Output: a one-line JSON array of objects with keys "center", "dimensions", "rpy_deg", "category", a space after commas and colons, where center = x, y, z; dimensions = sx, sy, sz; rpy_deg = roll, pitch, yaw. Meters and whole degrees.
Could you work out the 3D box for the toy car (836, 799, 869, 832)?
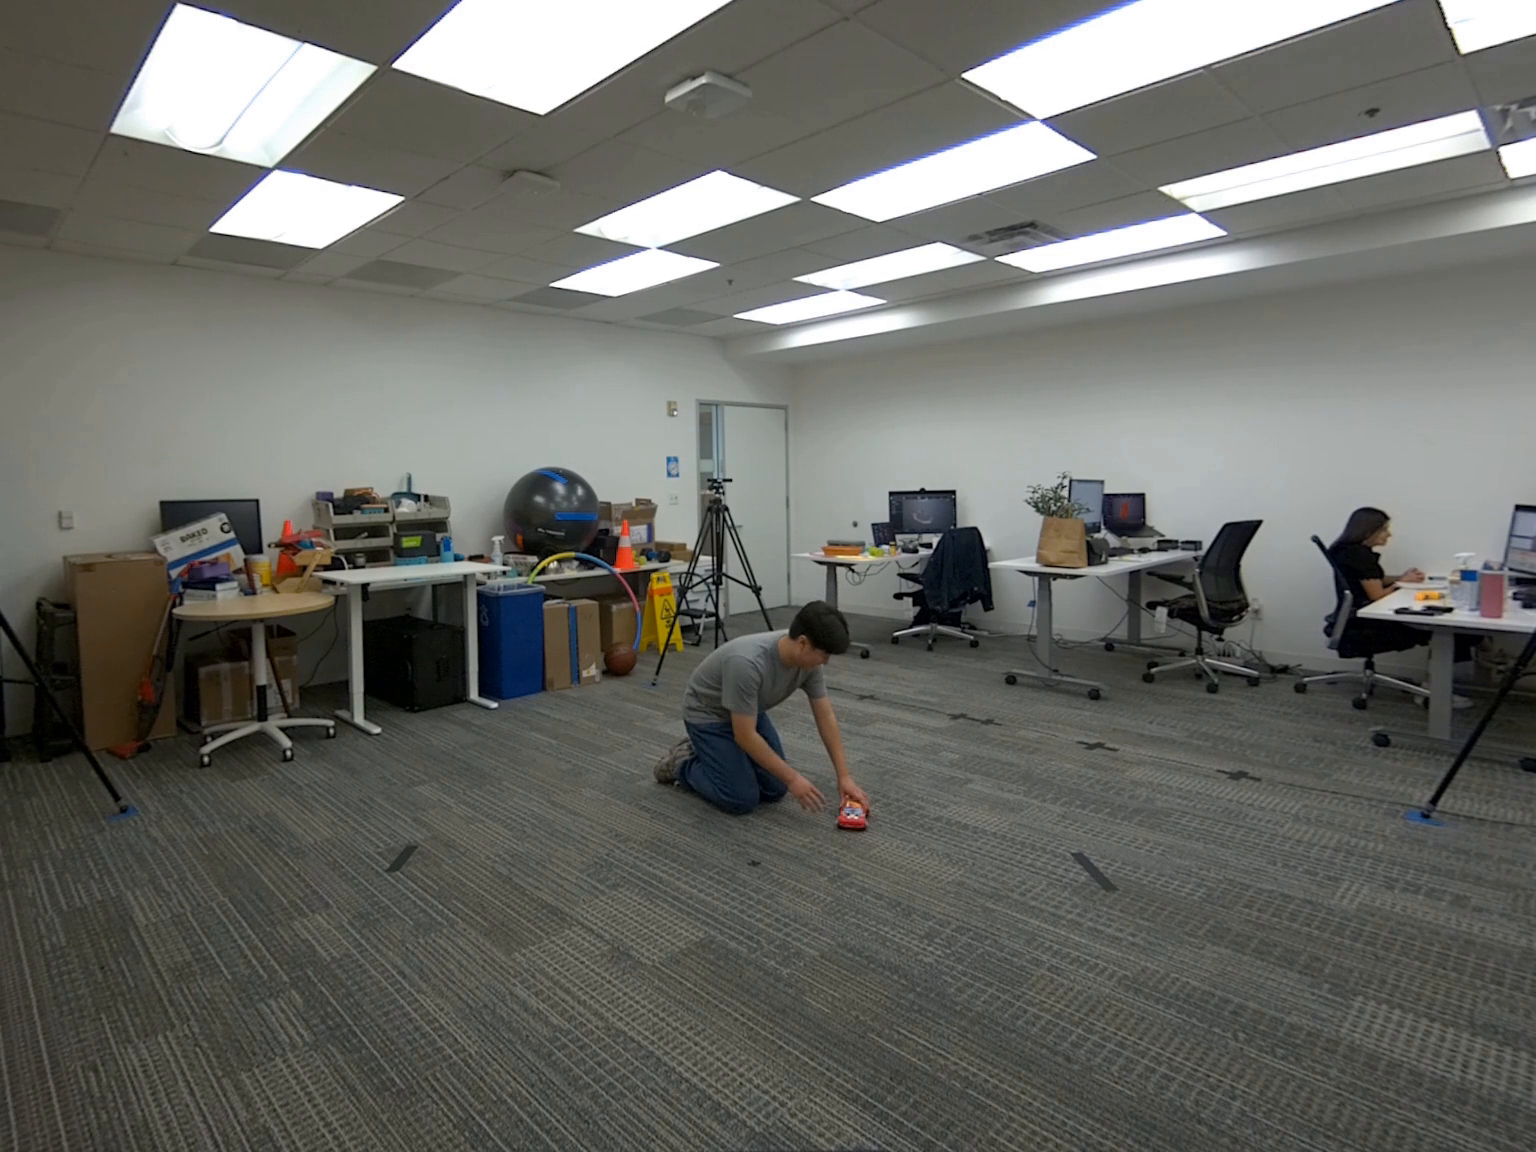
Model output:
[{"center": [0.344, 0.969, 3.486], "dimensions": [0.132, 0.082, 0.255], "rpy_deg": [4, 16, 11], "category": "toy car"}]
